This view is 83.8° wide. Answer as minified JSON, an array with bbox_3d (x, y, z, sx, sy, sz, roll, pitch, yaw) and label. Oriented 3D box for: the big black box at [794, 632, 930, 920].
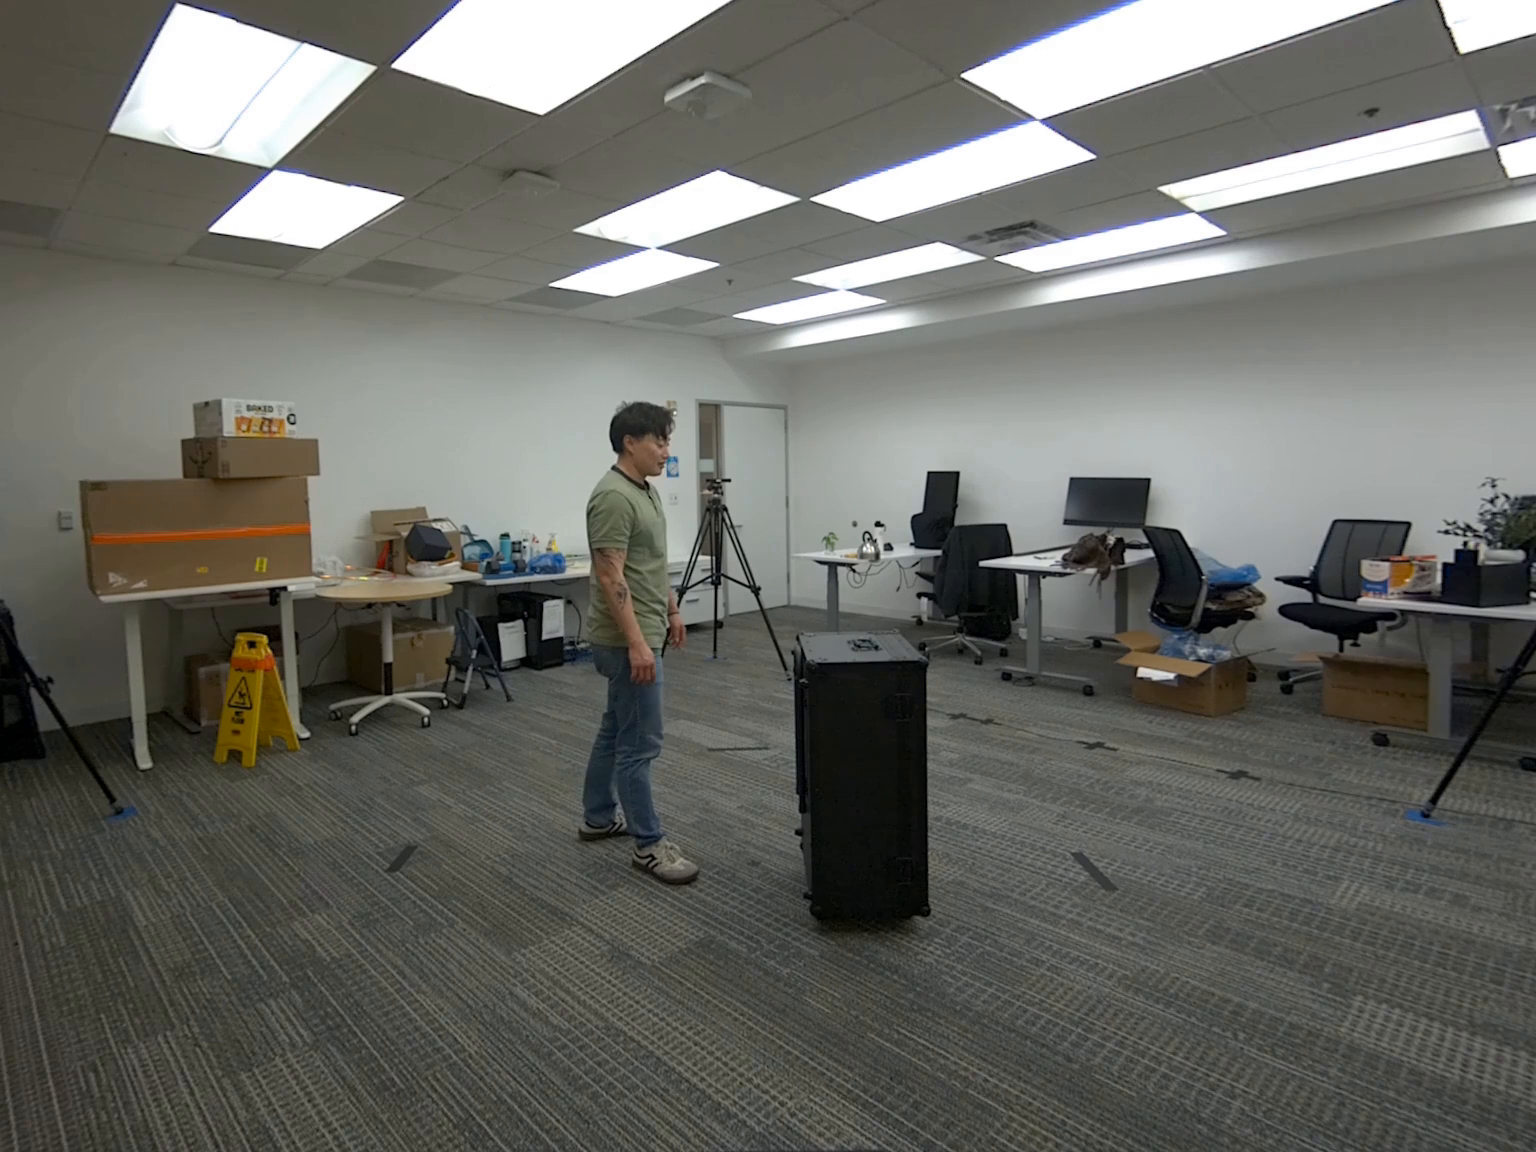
[{"bbox_3d":[0.290,0.650,2.782,0.397,0.859,0.522,-2,4,2],"label":"big black box"}]
